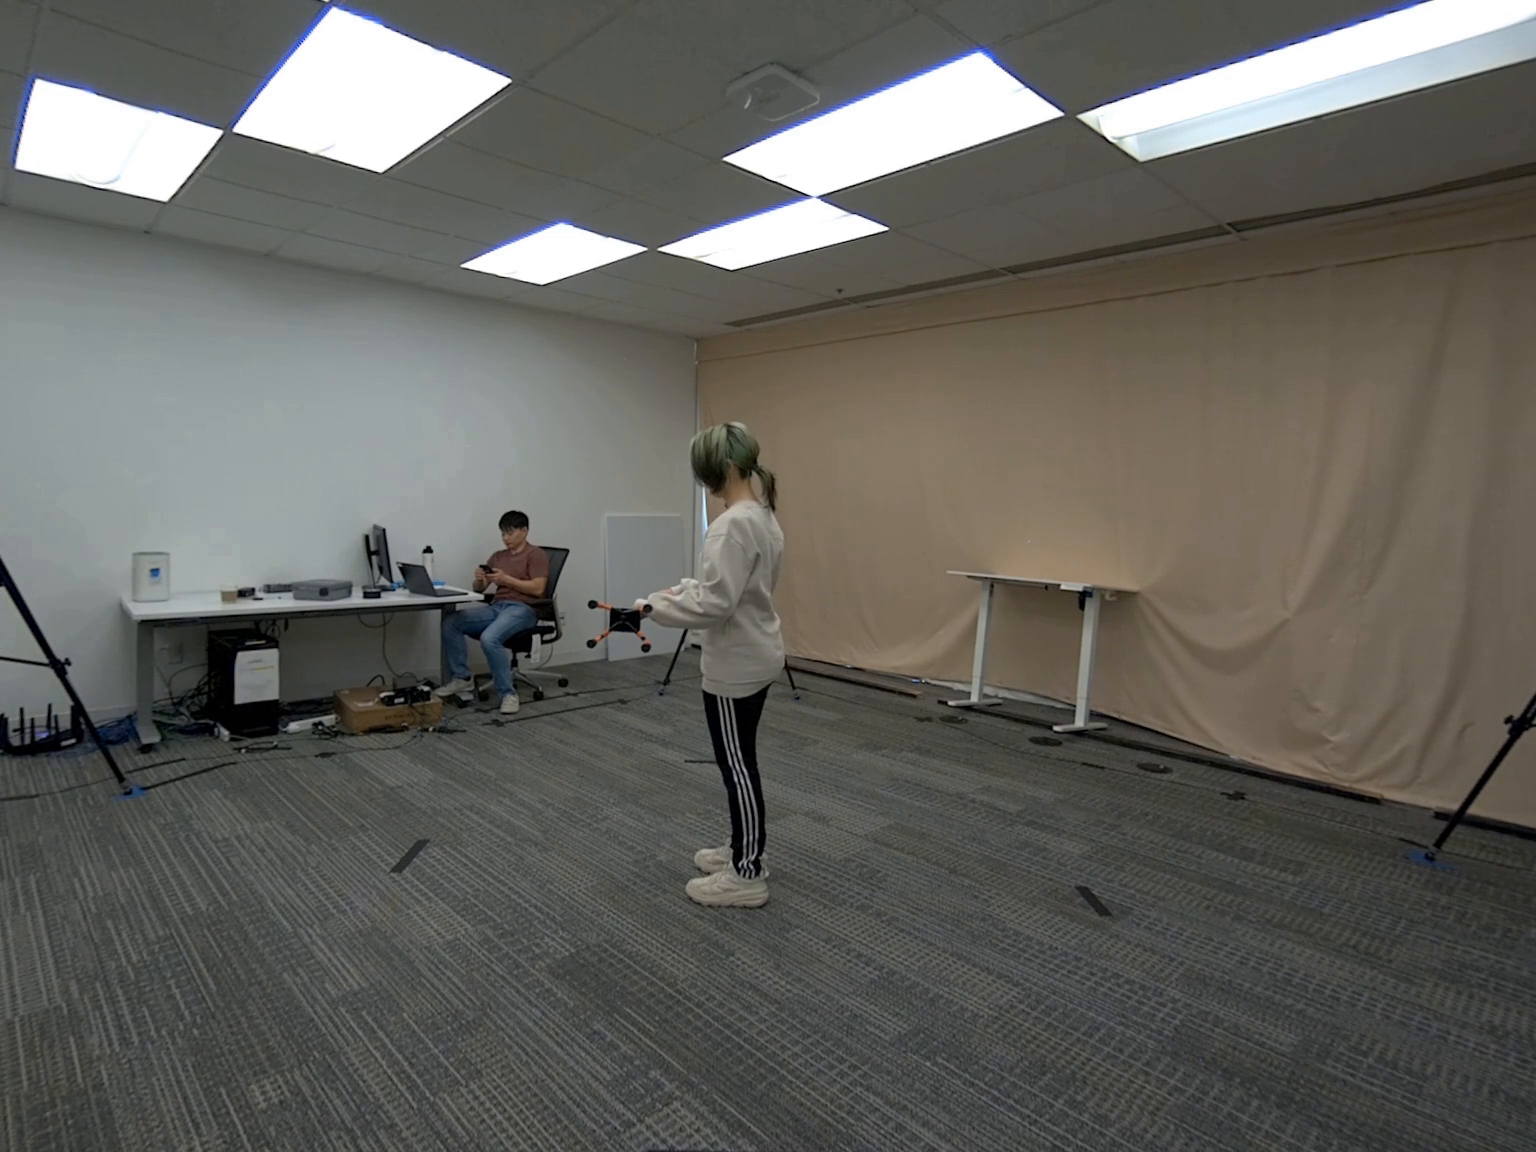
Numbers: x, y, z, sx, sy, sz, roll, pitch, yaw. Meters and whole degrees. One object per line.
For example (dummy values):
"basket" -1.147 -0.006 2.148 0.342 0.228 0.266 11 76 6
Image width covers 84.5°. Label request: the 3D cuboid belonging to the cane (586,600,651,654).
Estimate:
"cane" -0.422 0.114 3.064 0.208 0.151 0.905 3 6 7
